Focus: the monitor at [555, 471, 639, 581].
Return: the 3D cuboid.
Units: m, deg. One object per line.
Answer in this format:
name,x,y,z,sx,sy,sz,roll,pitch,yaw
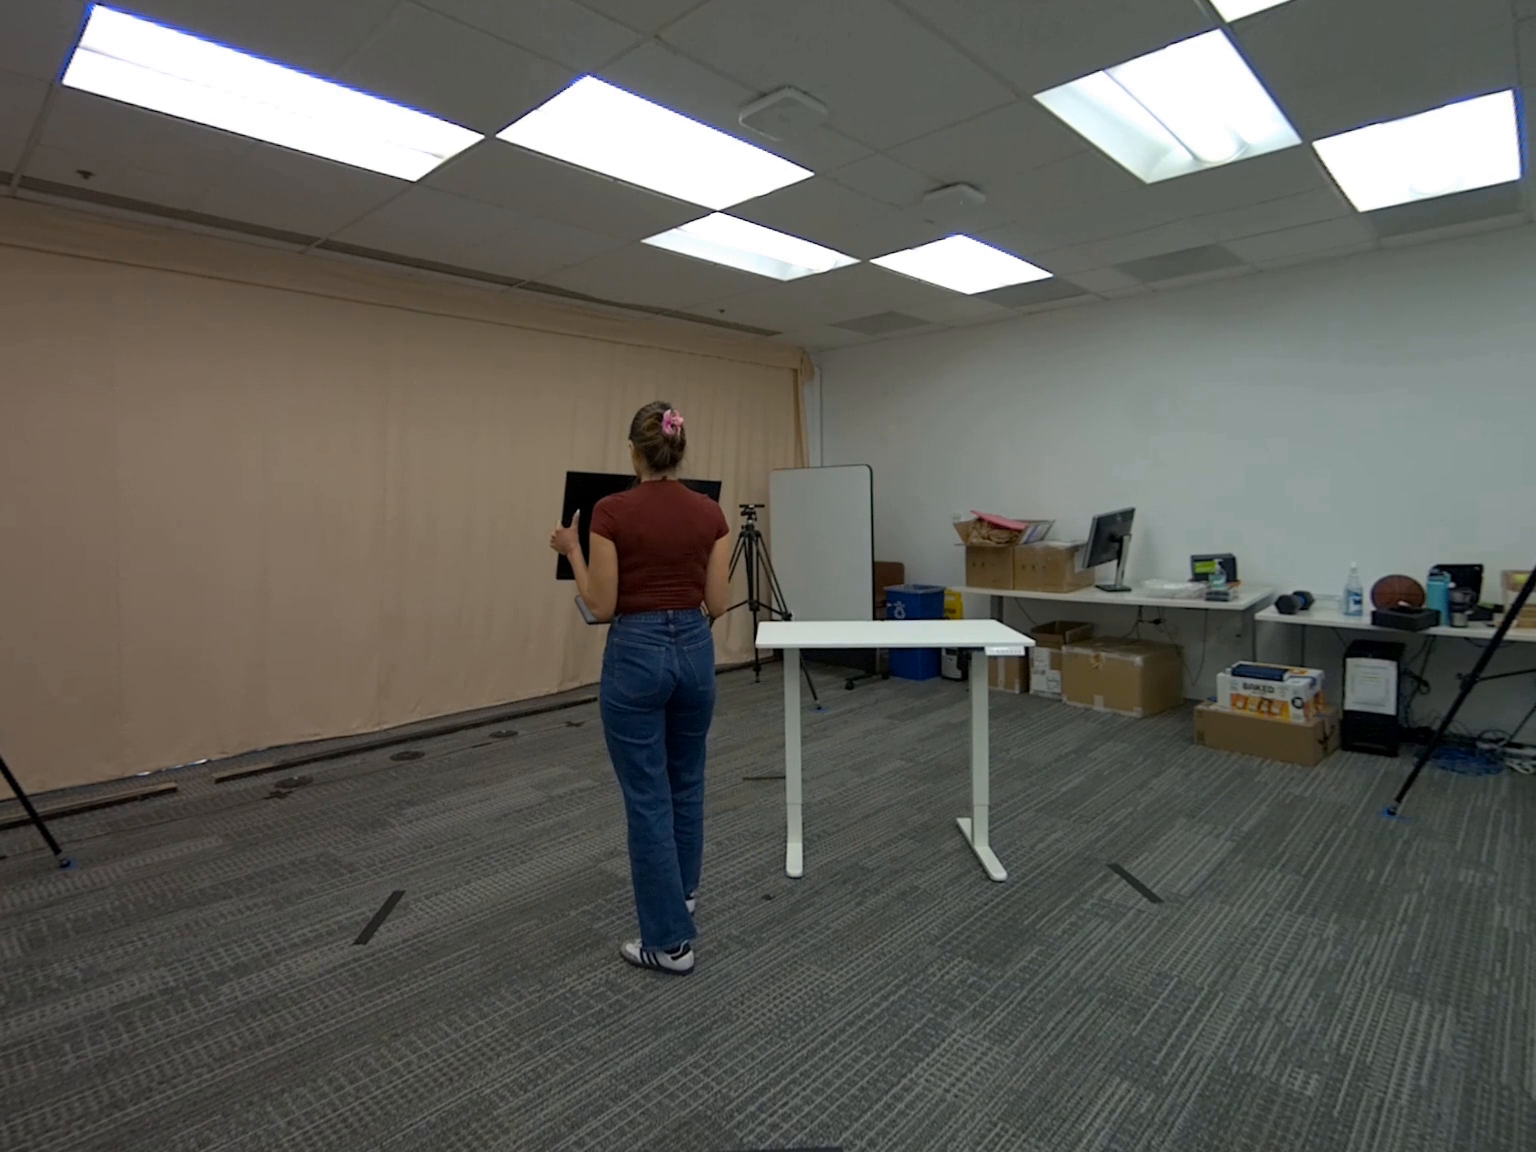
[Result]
monitor,-0.457,-0.098,2.824,0.524,0.519,0.193,1,32,-29
